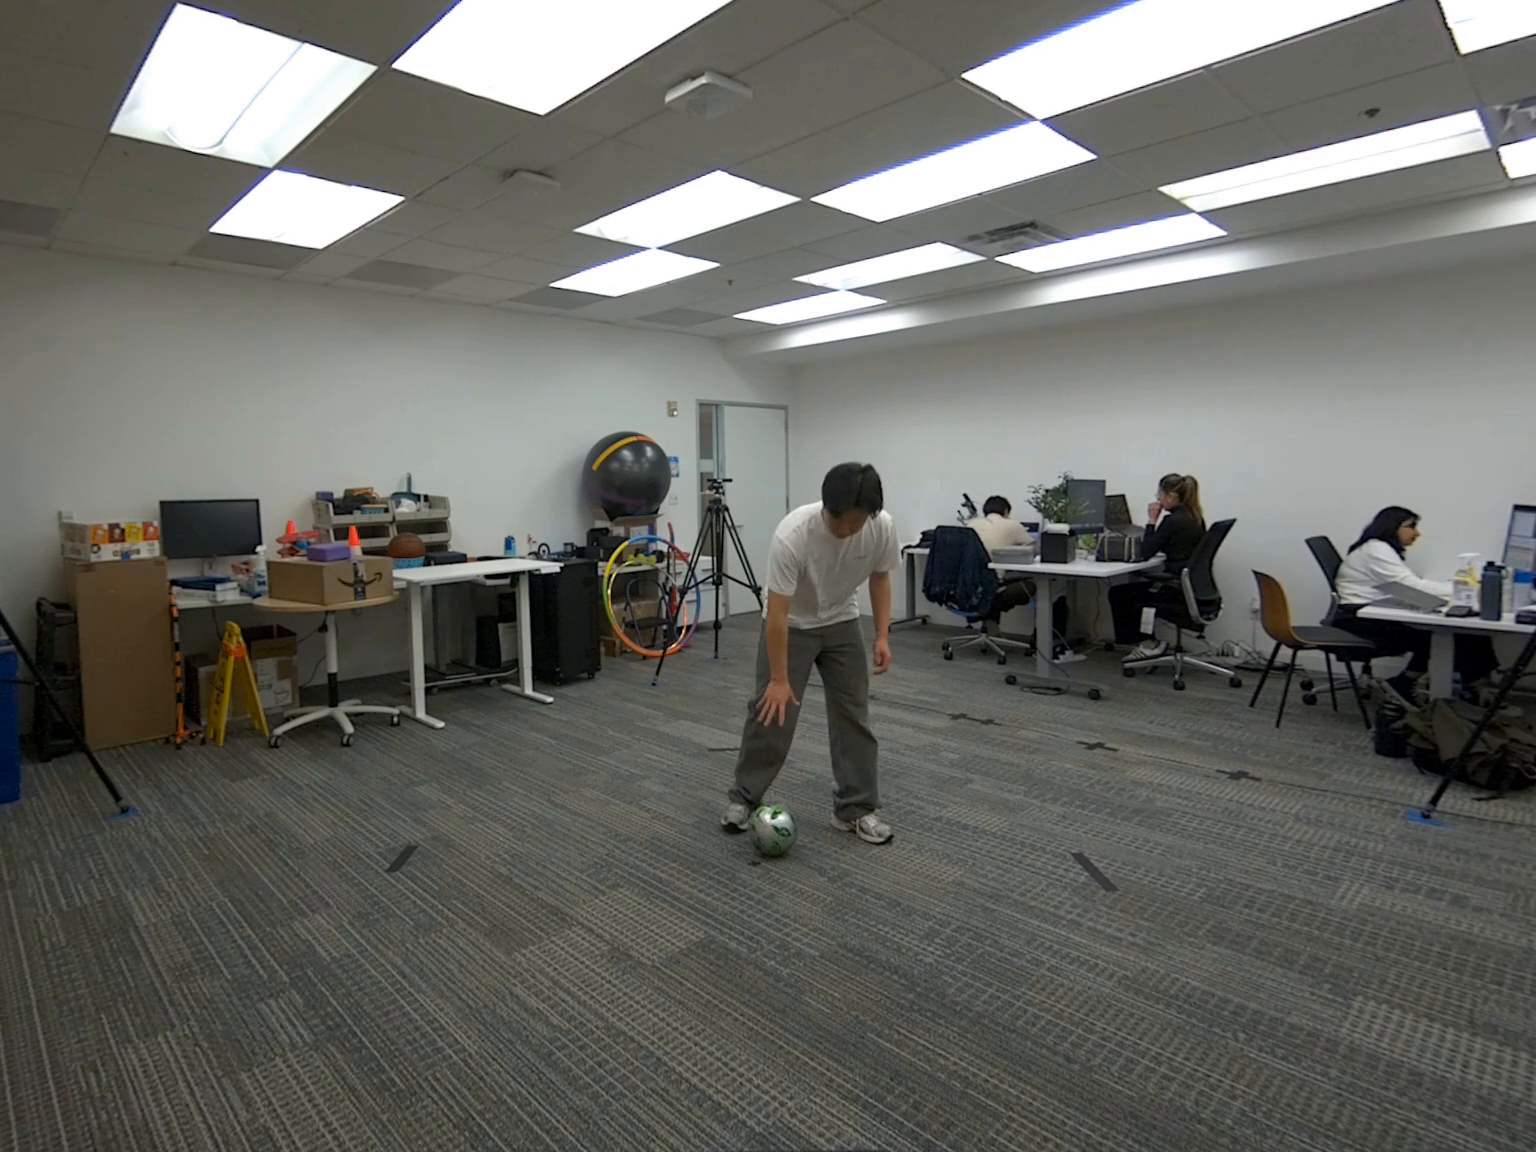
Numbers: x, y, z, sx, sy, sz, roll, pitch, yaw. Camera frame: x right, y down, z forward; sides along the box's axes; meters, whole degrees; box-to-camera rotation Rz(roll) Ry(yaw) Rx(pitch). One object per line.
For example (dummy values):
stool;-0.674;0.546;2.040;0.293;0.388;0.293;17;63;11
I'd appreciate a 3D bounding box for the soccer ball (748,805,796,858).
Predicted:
soccer ball;0.017;0.948;3.187;0.187;0.187;0.188;-1;5;-2
